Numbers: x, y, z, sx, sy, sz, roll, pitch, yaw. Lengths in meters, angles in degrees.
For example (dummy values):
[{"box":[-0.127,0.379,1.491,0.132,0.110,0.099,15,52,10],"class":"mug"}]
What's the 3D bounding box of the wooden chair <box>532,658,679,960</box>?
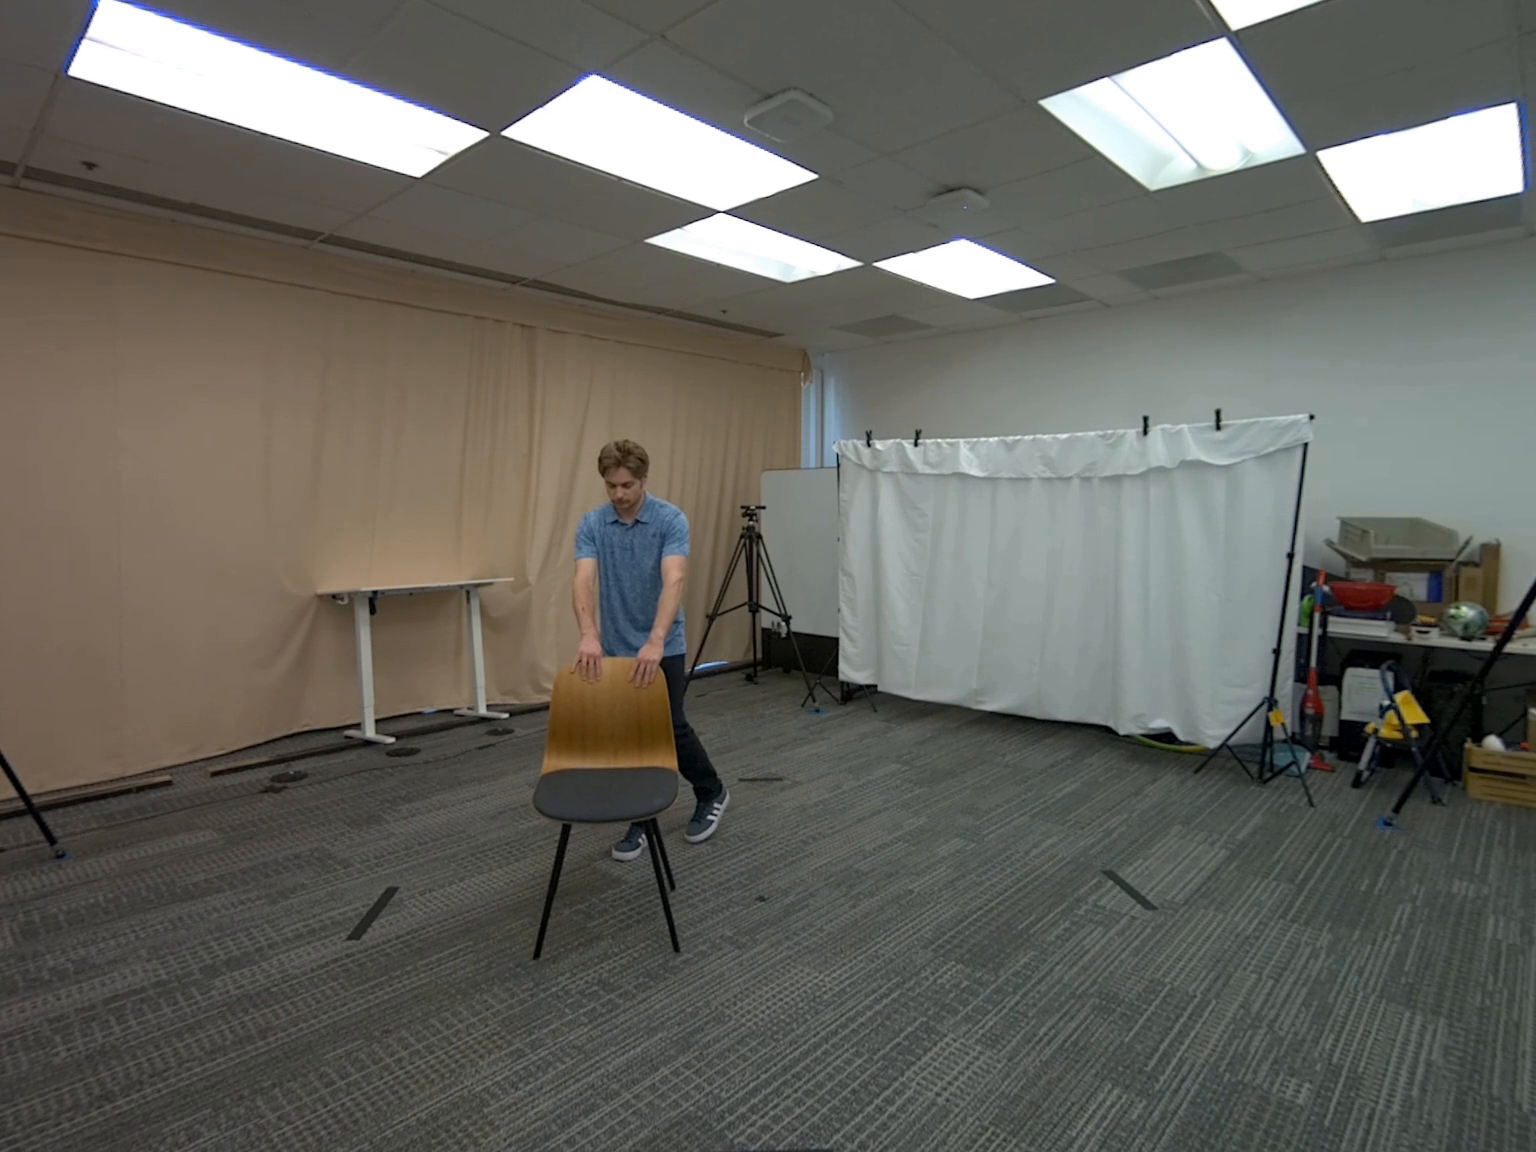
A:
[{"box":[-0.521,0.731,2.795,0.475,0.878,0.526,0,-1,-7],"class":"wooden chair"}]
